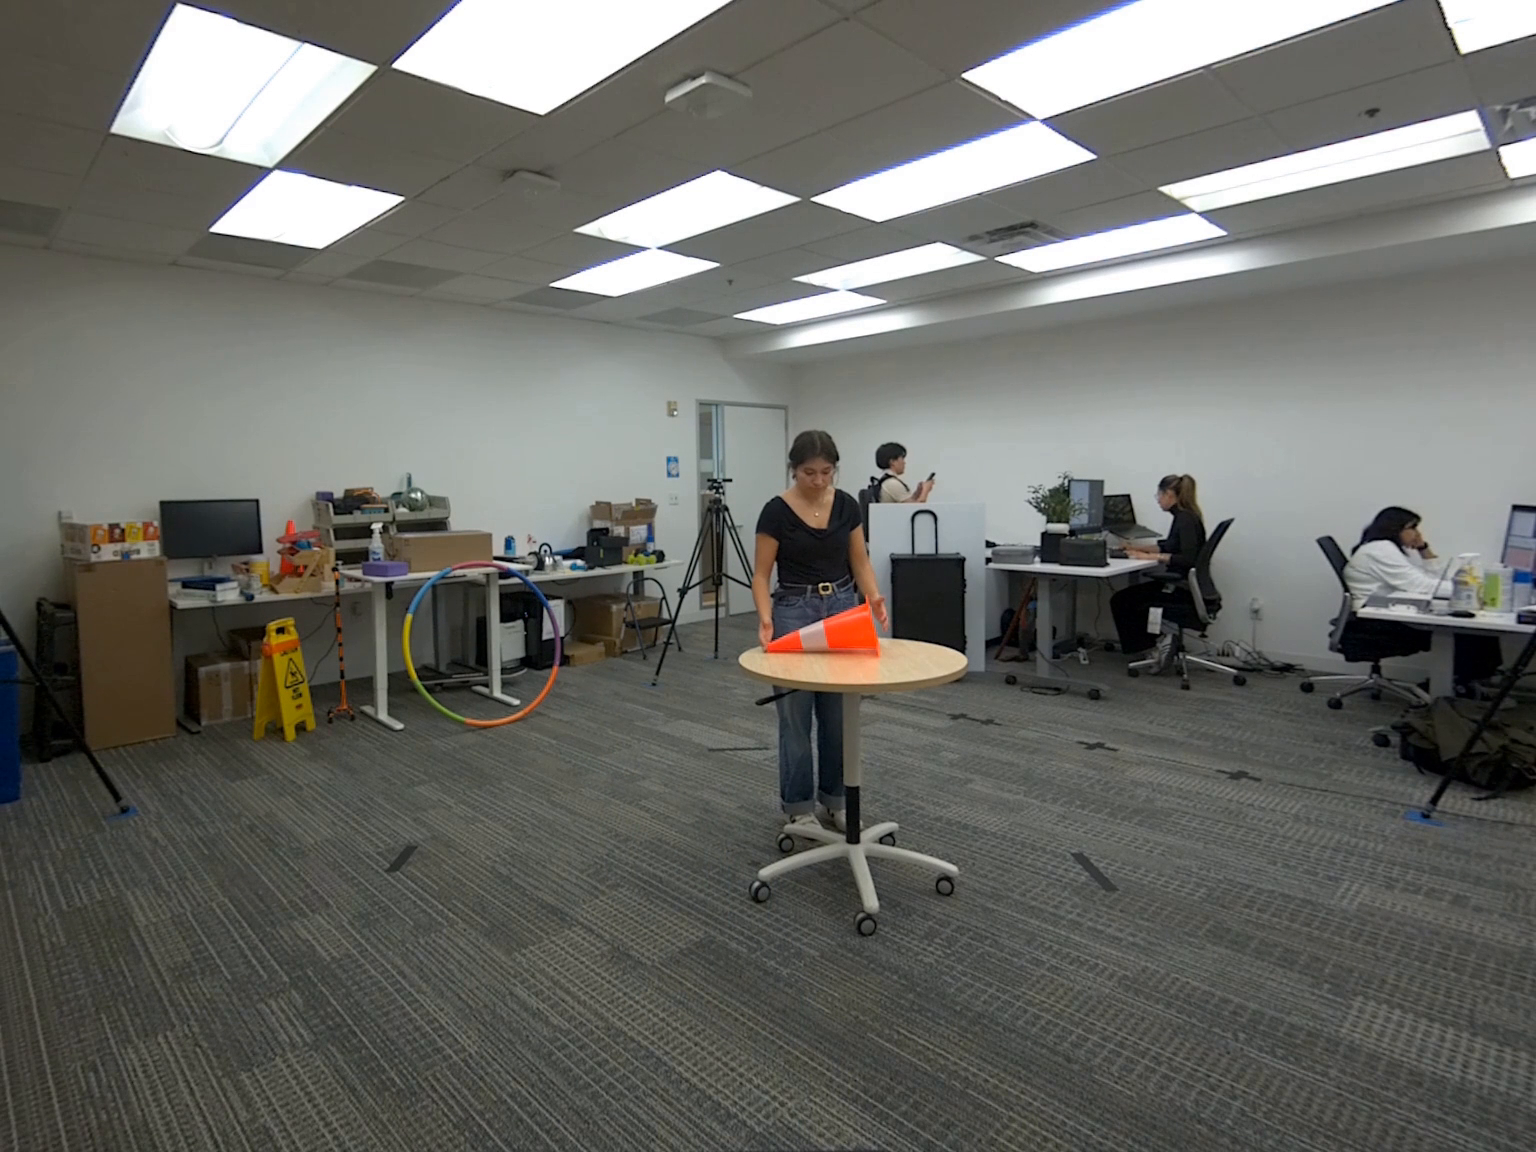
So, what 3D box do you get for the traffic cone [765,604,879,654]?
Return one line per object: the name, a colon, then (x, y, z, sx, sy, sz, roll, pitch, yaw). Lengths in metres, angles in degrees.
traffic cone: (0.177, 0.212, 3.015, 0.385, 0.202, 0.206, -11, 8, 4)
